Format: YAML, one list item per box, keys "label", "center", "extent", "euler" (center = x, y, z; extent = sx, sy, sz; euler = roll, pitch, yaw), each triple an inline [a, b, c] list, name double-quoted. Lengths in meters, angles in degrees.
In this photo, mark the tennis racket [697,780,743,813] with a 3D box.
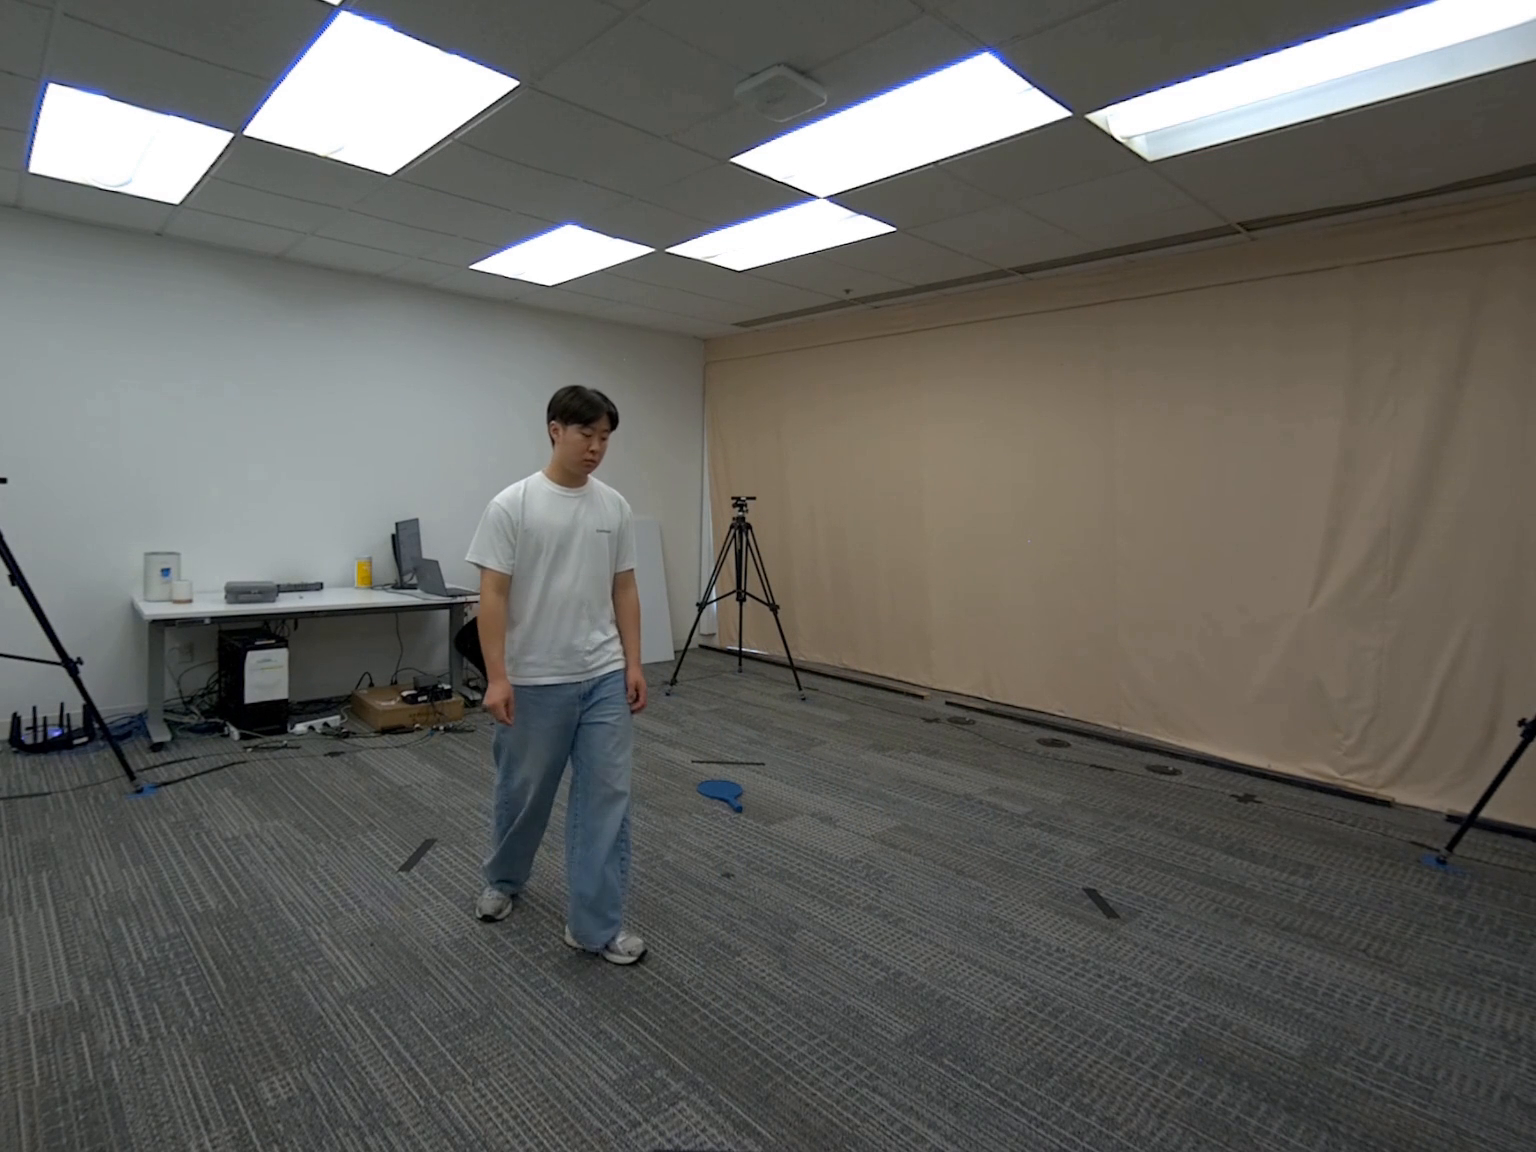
- label: "tennis racket"
  center: [-0.216, 1.016, 3.937]
  extent: [0.211, 0.032, 0.439]
  euler: [0, 4, -18]
